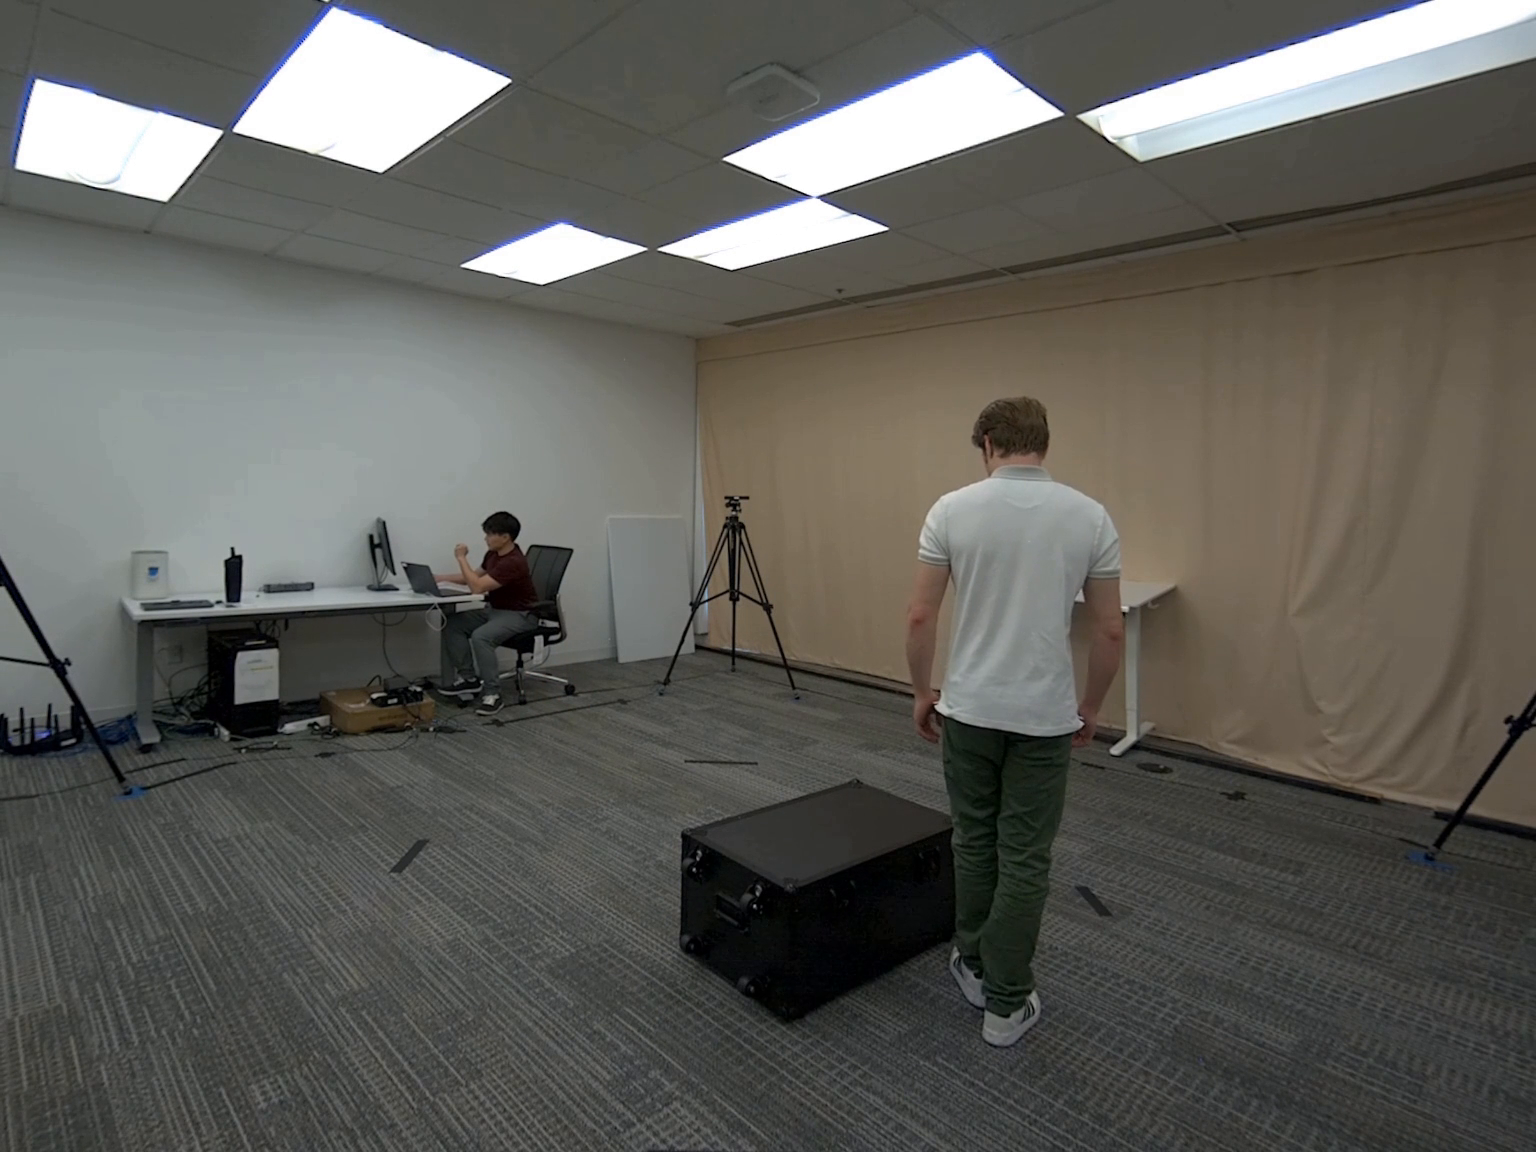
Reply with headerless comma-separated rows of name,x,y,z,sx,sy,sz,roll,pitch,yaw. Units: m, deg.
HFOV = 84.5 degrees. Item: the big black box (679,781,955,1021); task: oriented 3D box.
big black box,0.151,0.966,2.611,0.842,0.395,0.535,-2,6,-42
